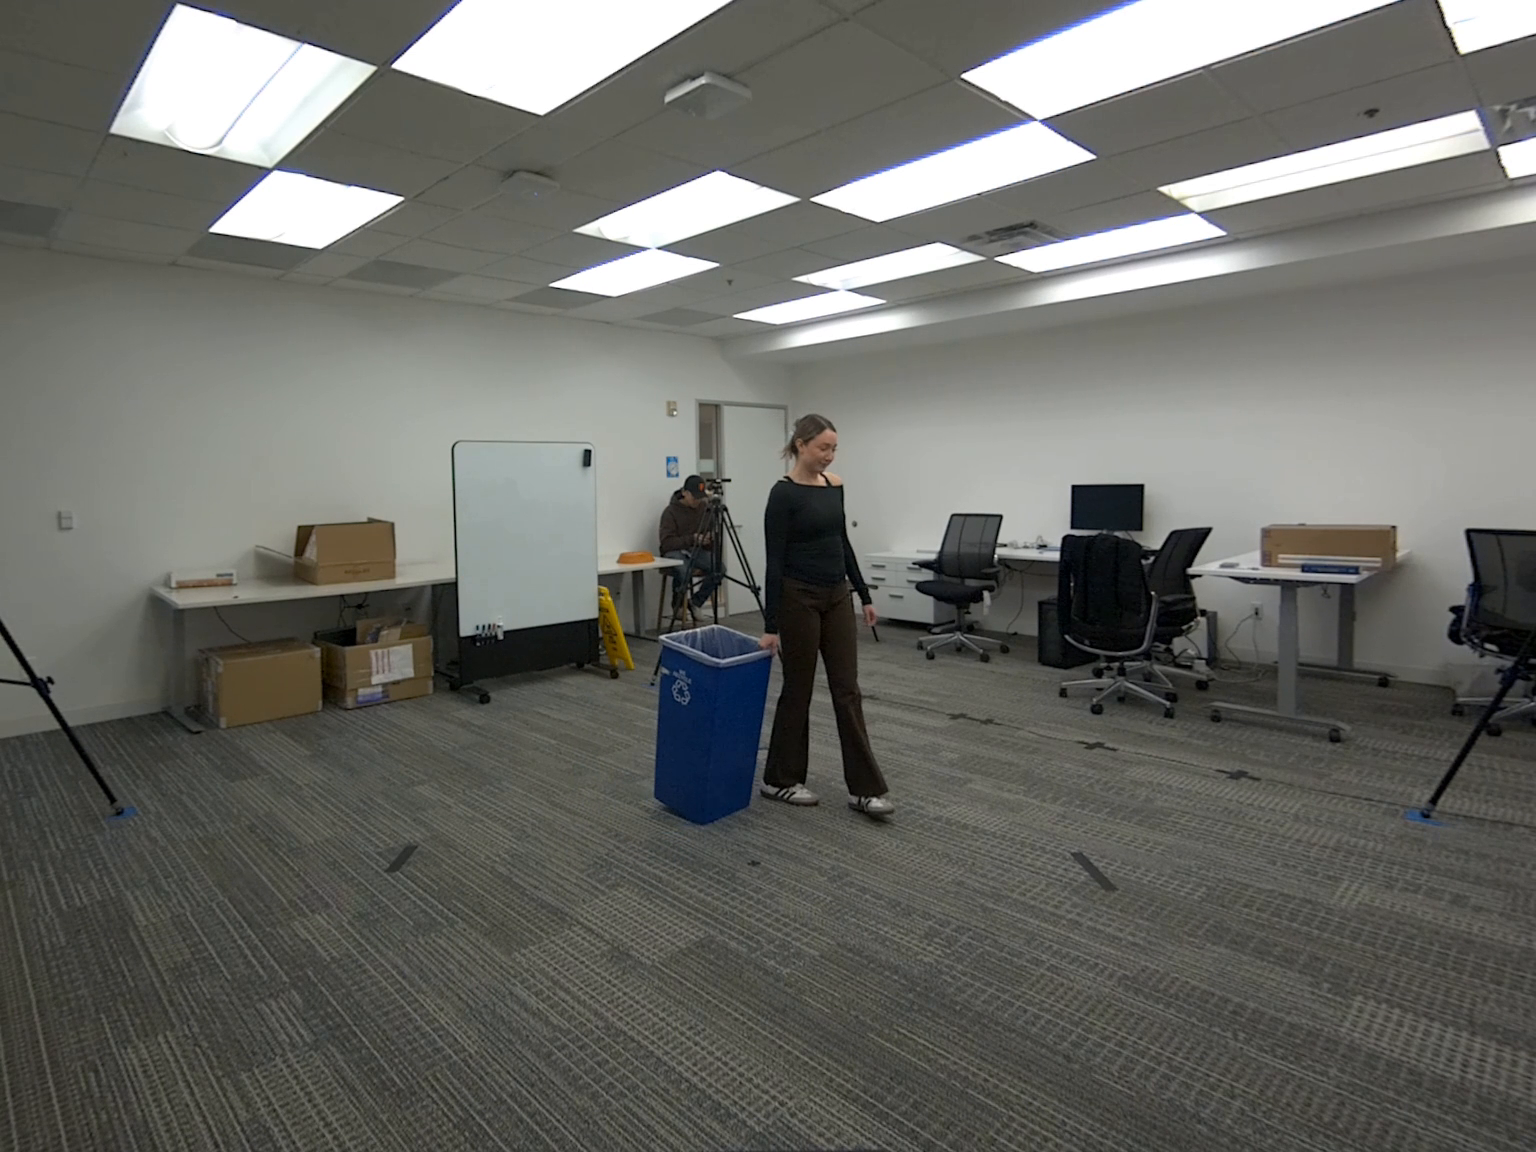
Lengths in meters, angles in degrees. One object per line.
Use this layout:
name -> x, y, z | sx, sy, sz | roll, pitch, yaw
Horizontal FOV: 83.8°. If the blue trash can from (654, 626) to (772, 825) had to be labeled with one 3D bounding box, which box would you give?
blue trash can -> -0.236, 0.617, 3.583 | 0.387, 0.708, 0.368 | 14, 13, 41
